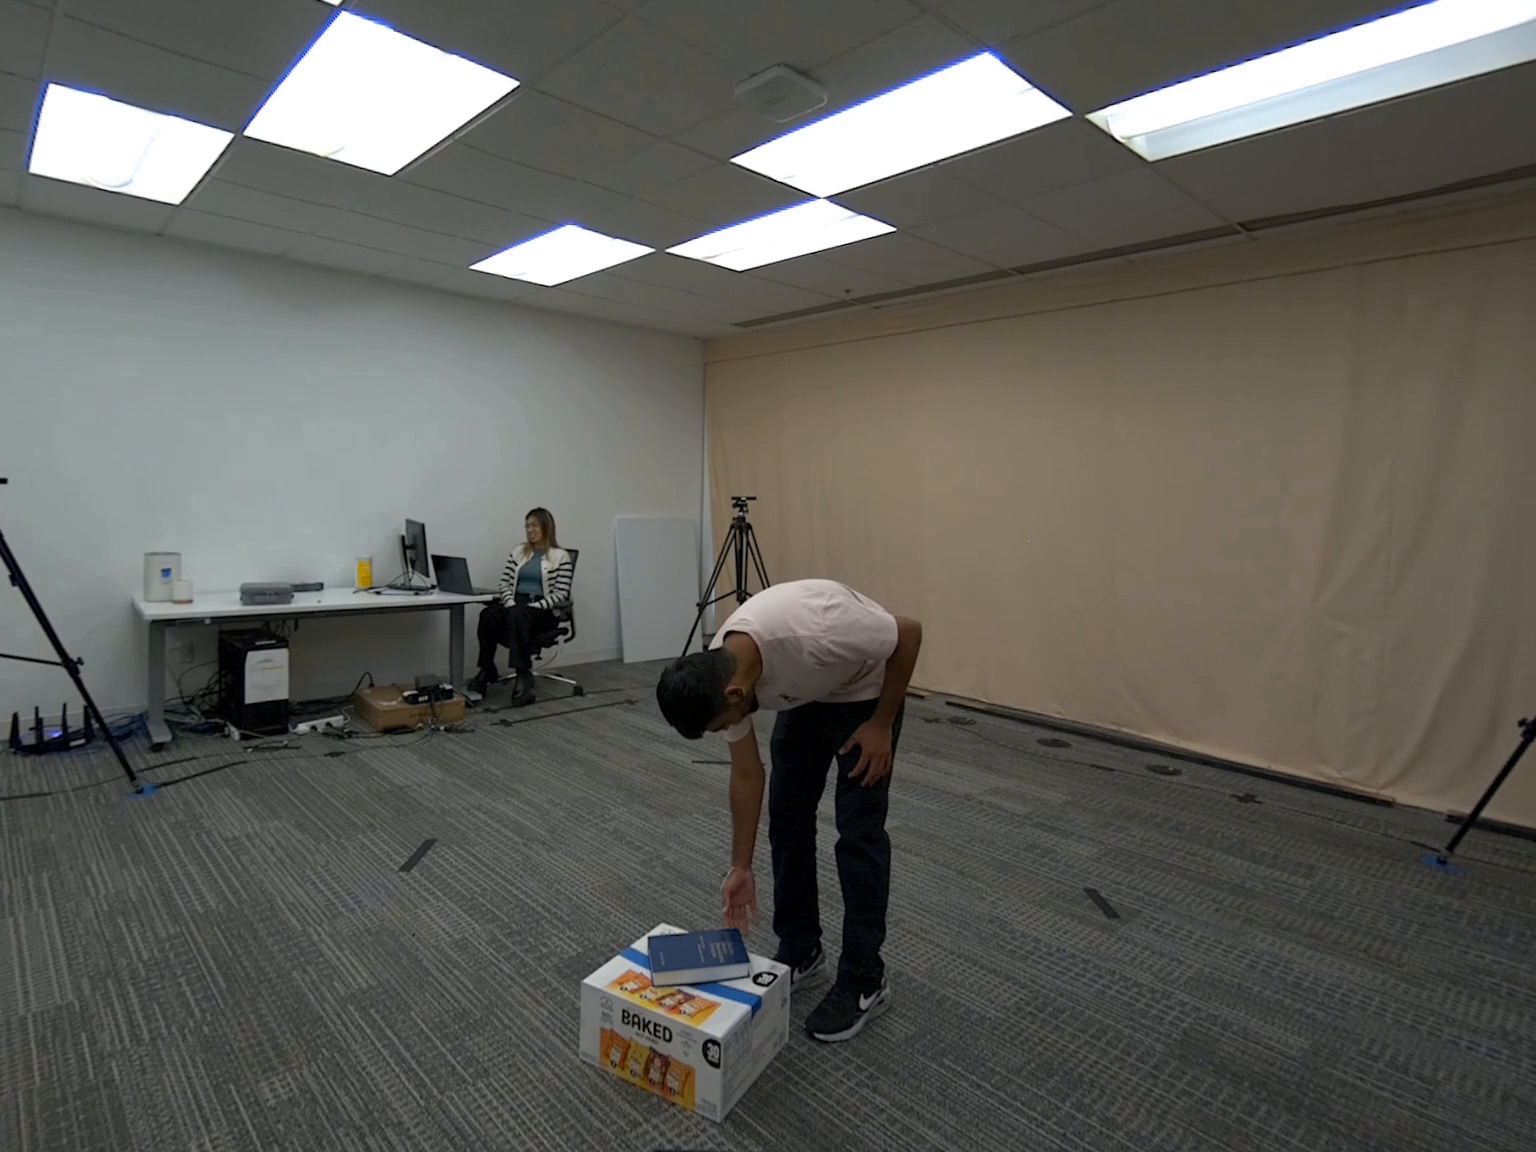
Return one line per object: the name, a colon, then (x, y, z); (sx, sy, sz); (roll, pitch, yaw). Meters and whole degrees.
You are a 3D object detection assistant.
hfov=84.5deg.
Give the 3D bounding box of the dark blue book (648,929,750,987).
dark blue book: (-0.189, 0.980, 2.141); (0.243, 0.045, 0.165); (0, 8, -11)
